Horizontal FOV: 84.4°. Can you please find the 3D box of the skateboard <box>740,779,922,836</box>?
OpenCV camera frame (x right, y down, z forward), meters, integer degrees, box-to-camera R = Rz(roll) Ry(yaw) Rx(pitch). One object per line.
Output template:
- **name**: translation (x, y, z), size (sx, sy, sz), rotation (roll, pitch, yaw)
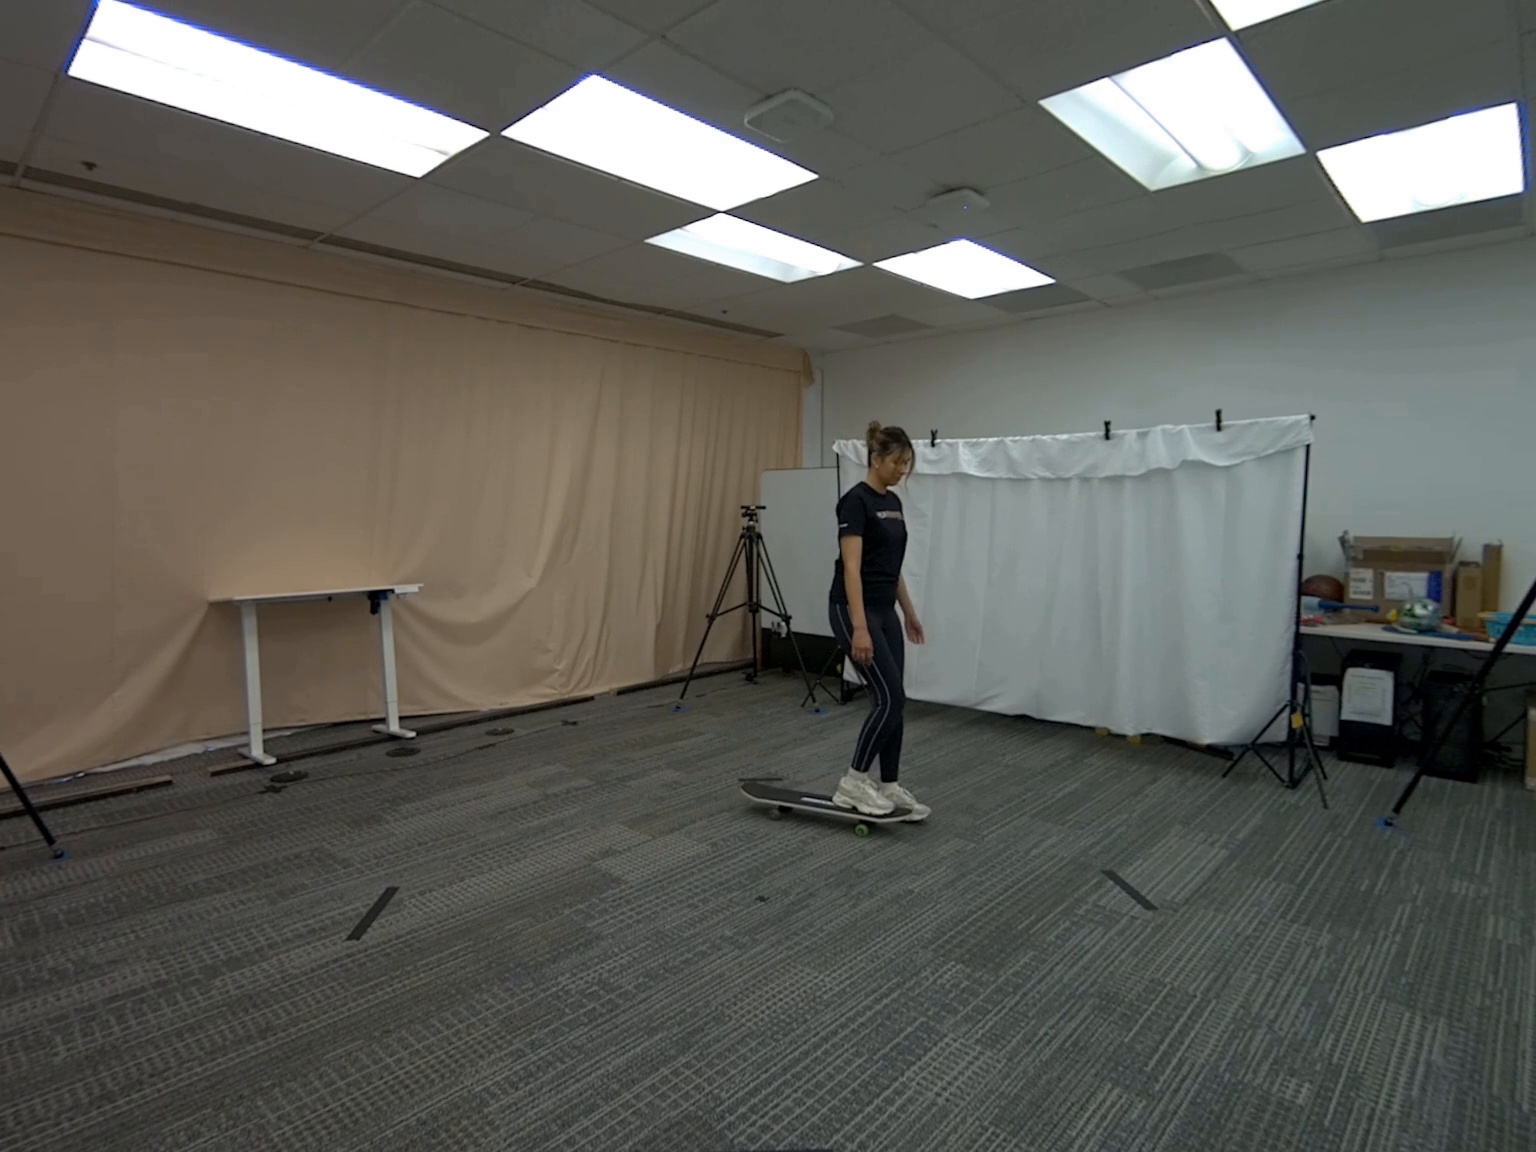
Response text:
- **skateboard**: translation (0.245, 1.029, 3.712), size (0.807, 0.110, 0.188), rotation (4, 3, 28)
